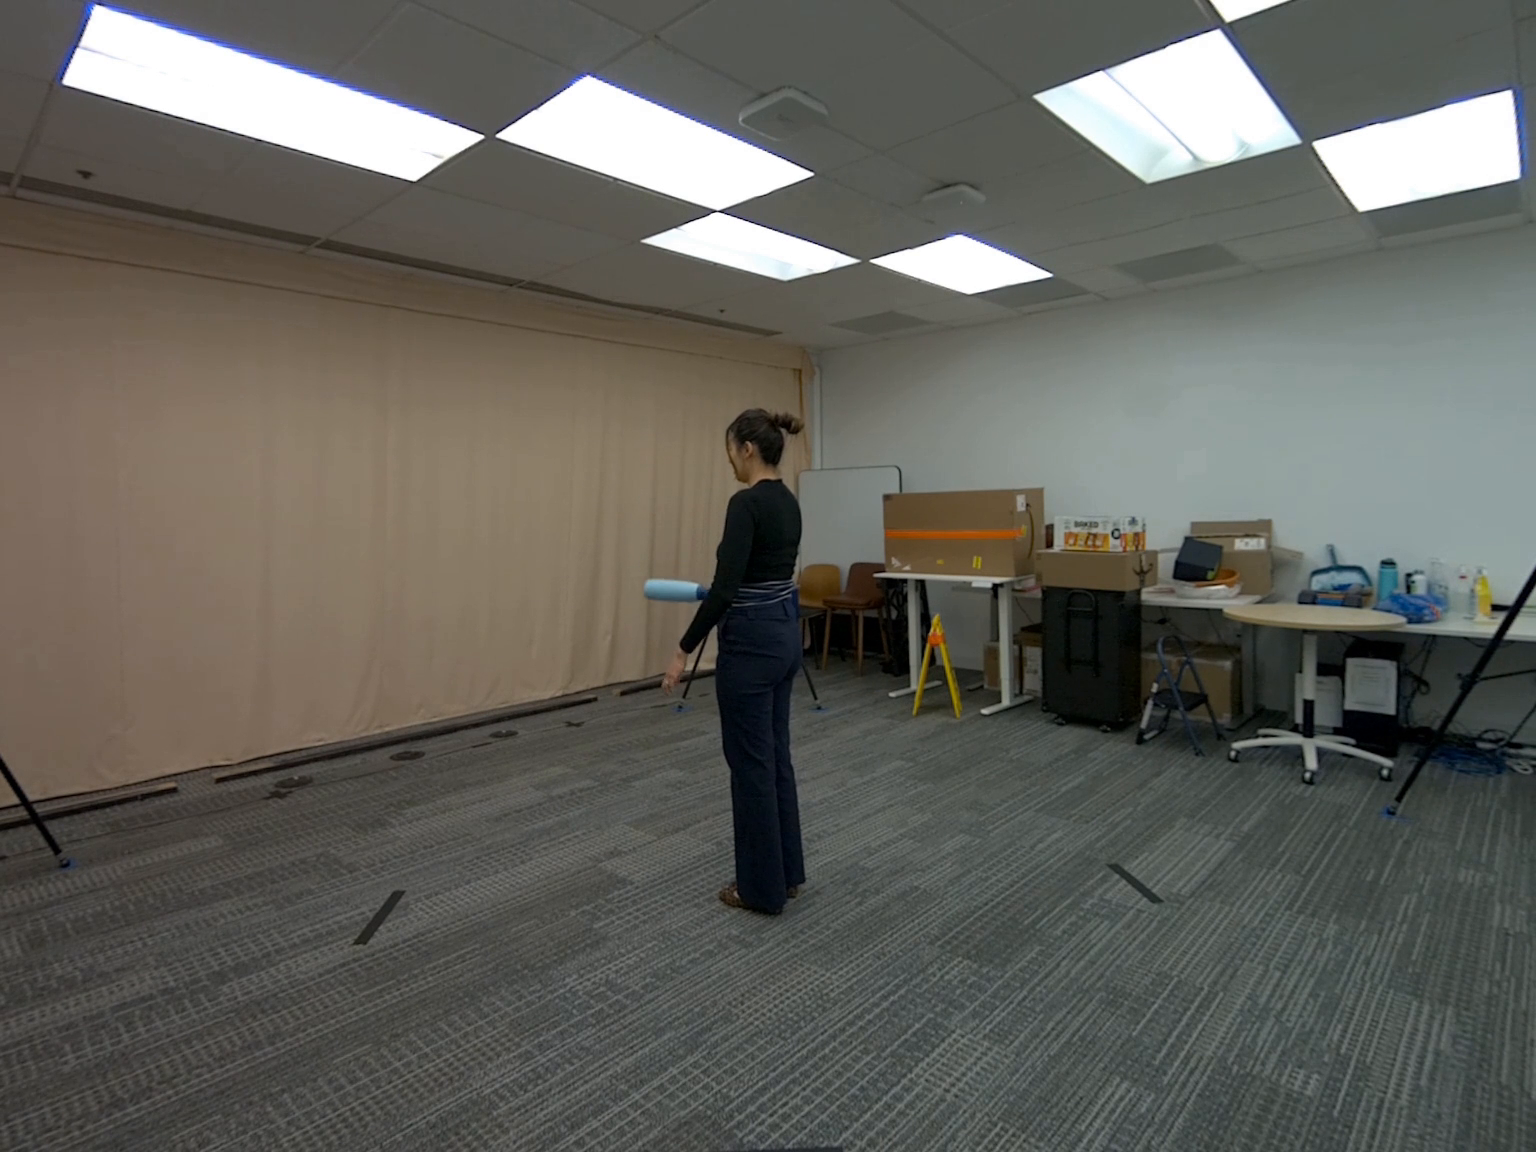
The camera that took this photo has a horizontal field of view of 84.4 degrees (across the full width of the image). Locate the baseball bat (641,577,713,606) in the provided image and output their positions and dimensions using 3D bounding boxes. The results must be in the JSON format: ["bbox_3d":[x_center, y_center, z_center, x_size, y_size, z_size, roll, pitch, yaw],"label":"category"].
[{"bbox_3d":[-0.259,0.068,3.462,0.556,0.089,0.087,3,5,23],"label":"baseball bat"}]
